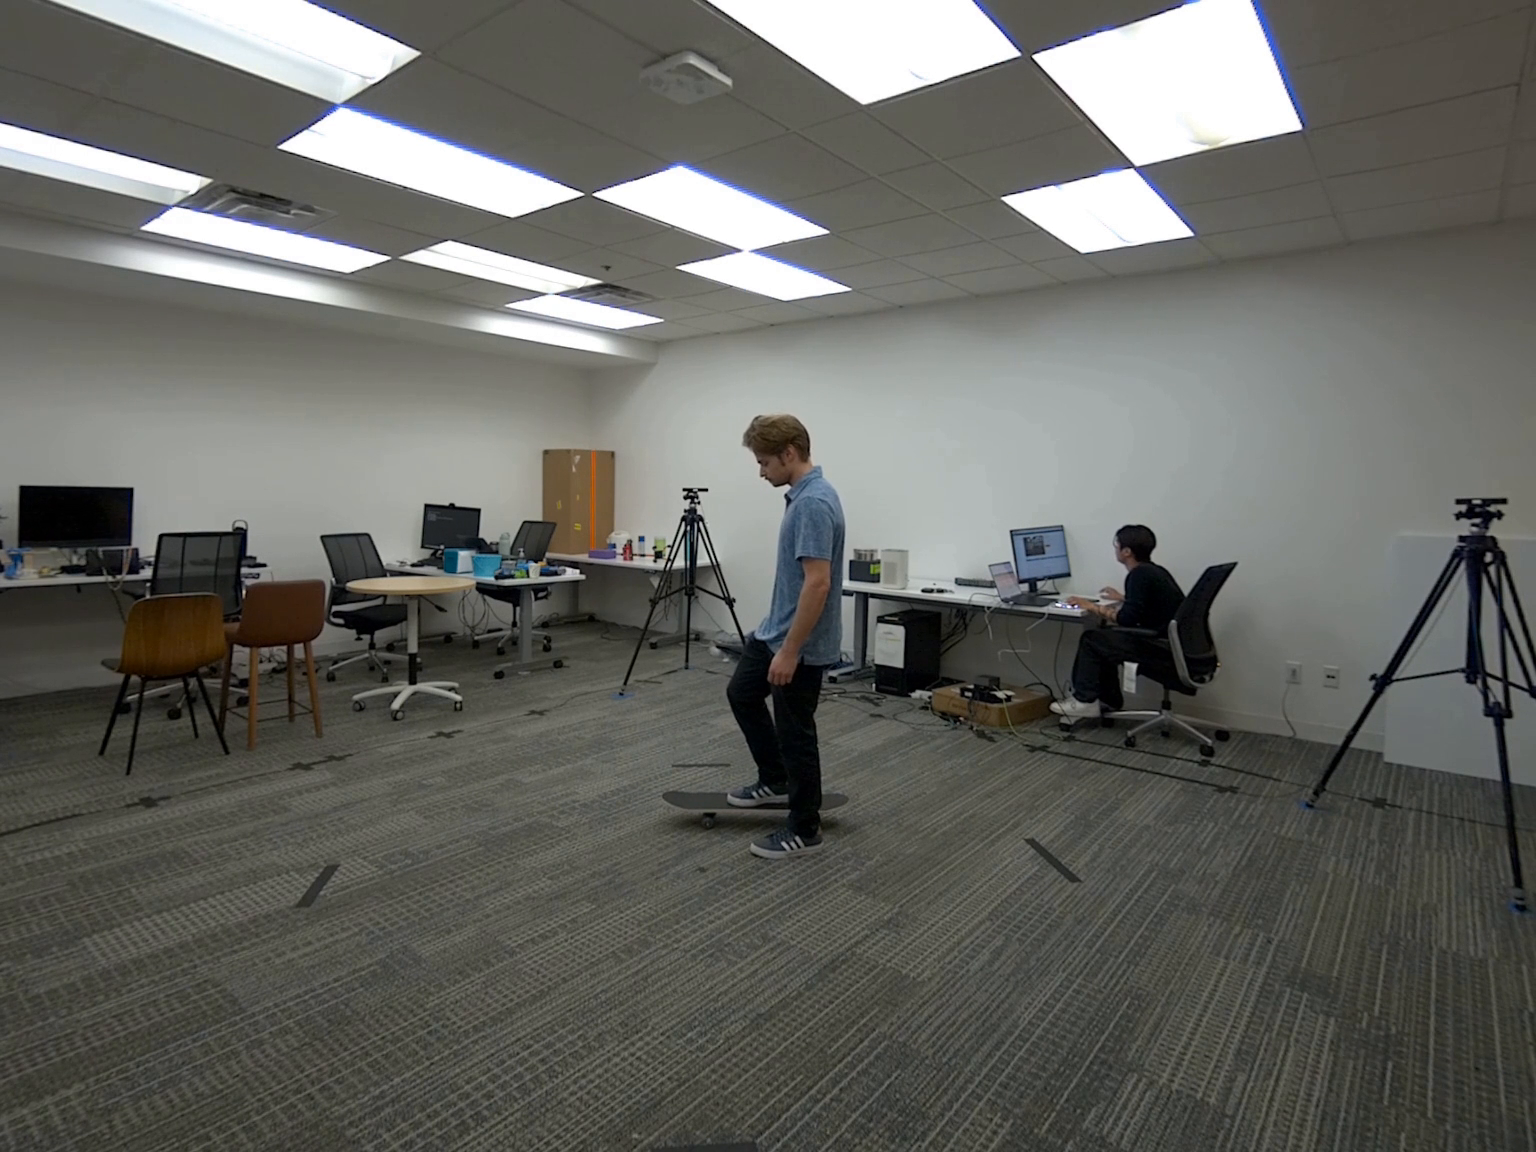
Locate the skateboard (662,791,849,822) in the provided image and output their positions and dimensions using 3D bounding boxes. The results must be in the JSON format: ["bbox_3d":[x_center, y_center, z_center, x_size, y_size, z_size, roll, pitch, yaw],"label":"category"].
[{"bbox_3d":[-0.068,0.966,3.556,0.784,0.110,0.194,1,6,-1],"label":"skateboard"}]
